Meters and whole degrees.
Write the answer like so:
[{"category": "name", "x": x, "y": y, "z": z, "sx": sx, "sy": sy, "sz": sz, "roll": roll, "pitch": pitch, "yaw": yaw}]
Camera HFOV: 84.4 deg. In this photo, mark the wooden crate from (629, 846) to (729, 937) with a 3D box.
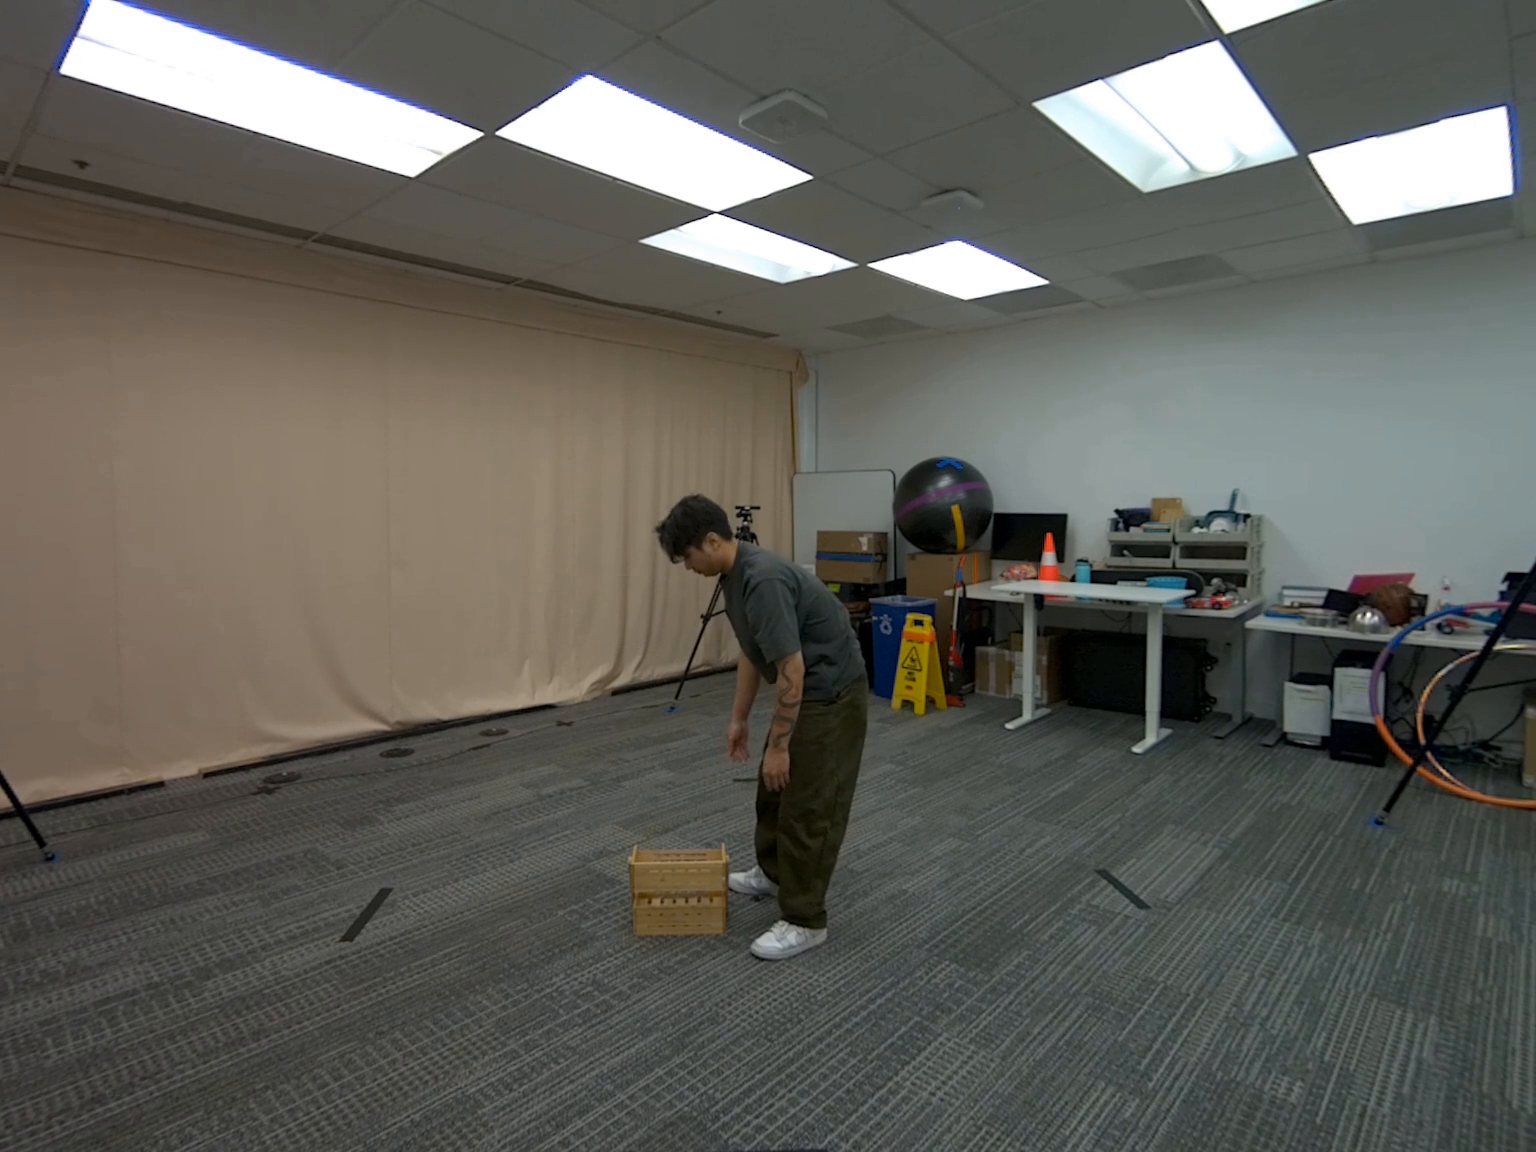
[{"category": "wooden crate", "x": -0.301, "y": 1.023, "z": 2.834, "sx": 0.324, "sy": 0.273, "sz": 0.303, "roll": -1, "pitch": 4, "yaw": -3}]
